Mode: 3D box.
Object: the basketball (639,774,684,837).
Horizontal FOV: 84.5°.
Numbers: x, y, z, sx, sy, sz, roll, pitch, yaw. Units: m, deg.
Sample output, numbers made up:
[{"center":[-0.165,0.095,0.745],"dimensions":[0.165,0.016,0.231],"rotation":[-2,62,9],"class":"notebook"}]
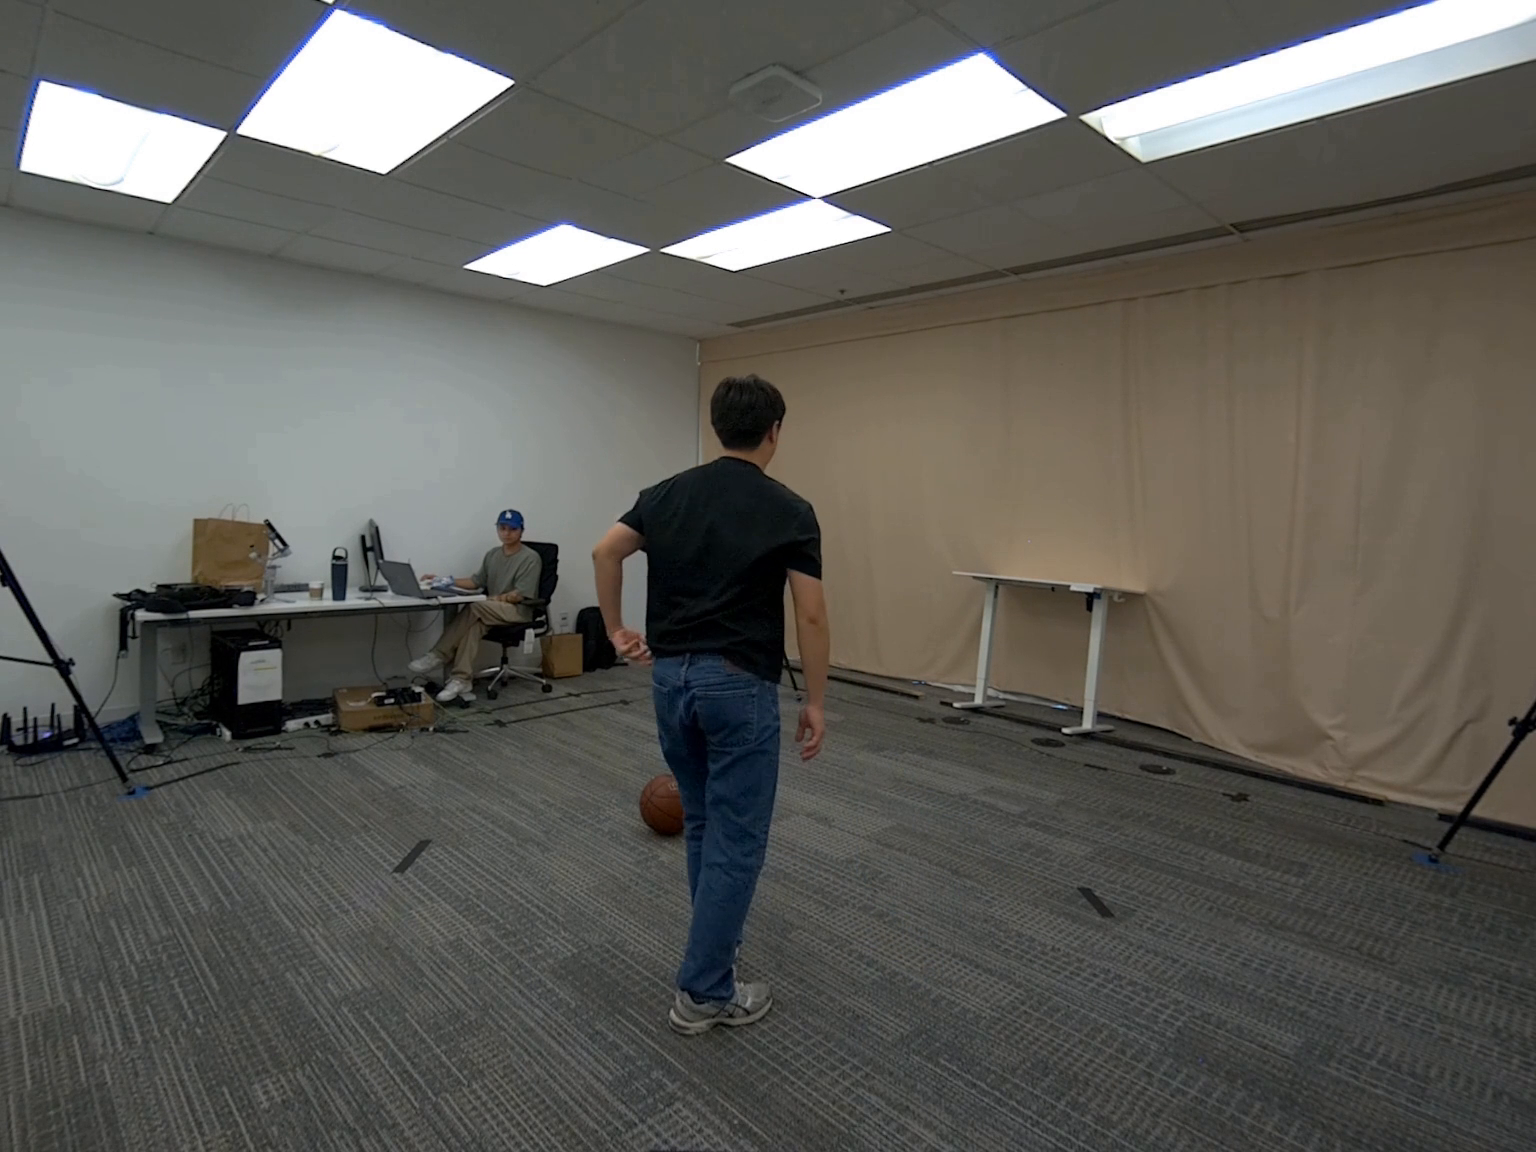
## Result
[{"center":[-0.417,0.942,3.495],"dimensions":[0.236,0.235,0.237],"rotation":[1,4,-1],"class":"basketball"}]
